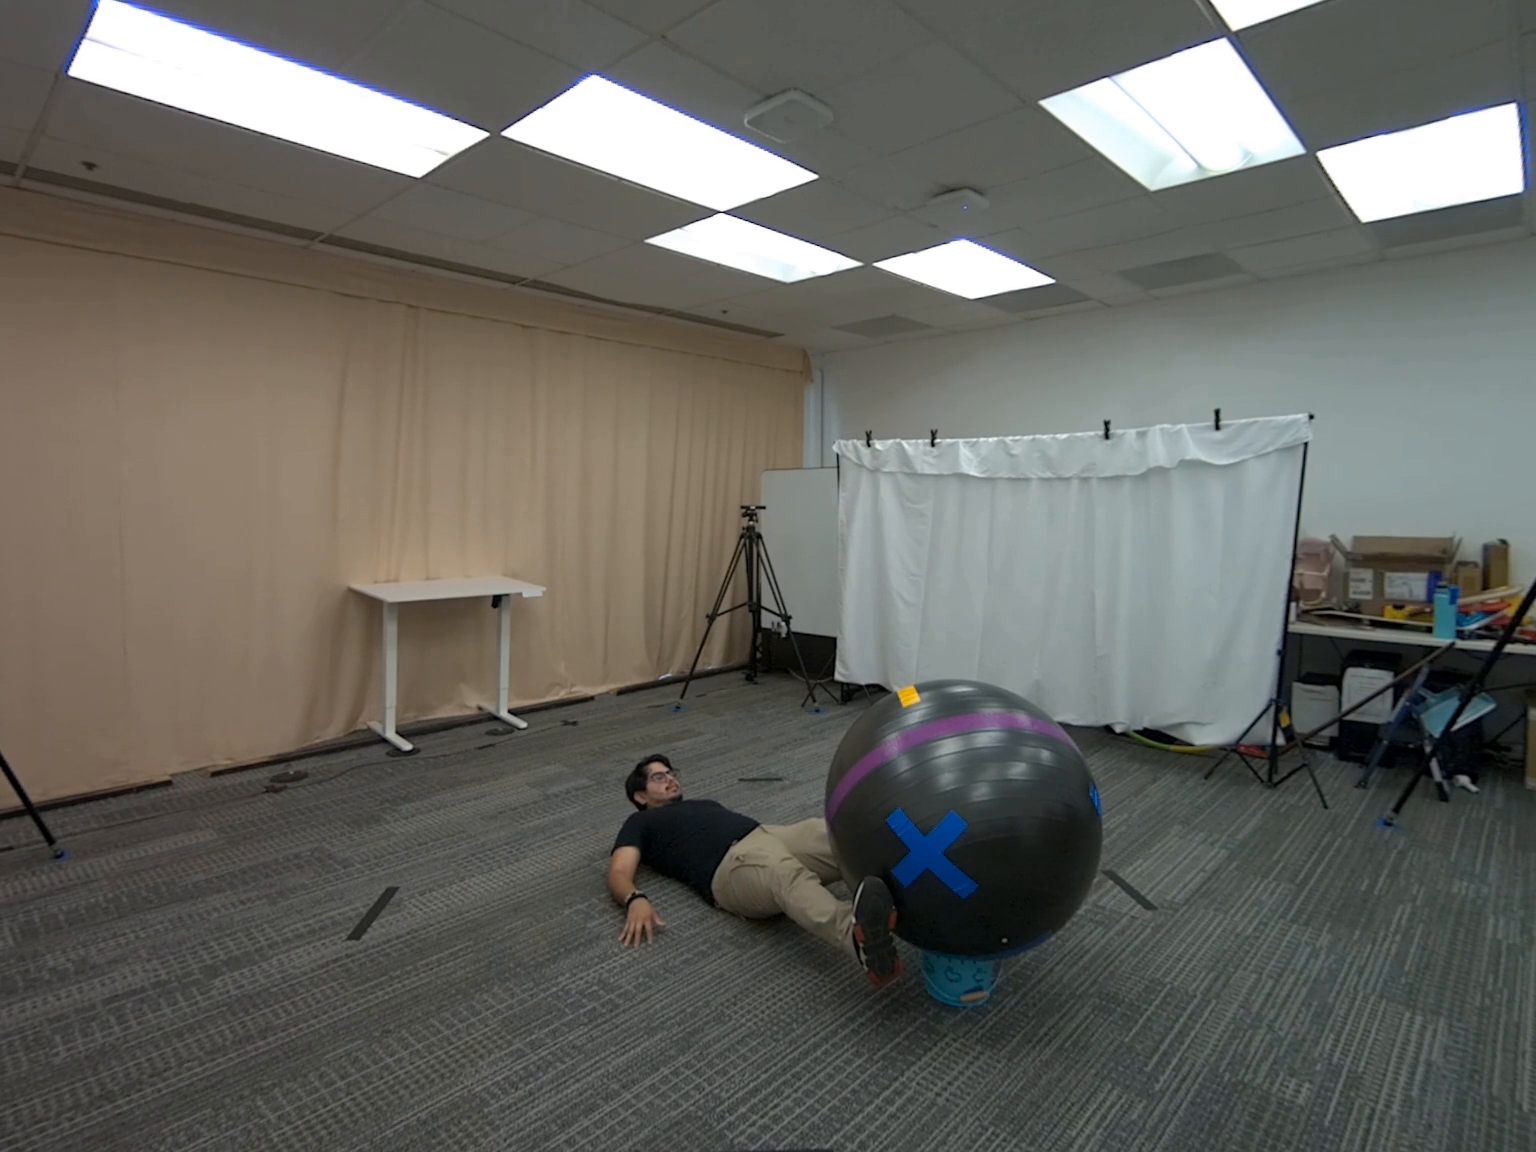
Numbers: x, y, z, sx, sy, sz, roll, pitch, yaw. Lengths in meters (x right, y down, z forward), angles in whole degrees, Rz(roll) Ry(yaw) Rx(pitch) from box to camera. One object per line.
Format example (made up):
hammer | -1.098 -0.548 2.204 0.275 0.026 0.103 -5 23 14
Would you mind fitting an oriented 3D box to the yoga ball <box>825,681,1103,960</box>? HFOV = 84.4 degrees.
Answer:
yoga ball | 0.554 0.681 2.404 0.757 0.756 0.760 0 4 -2
